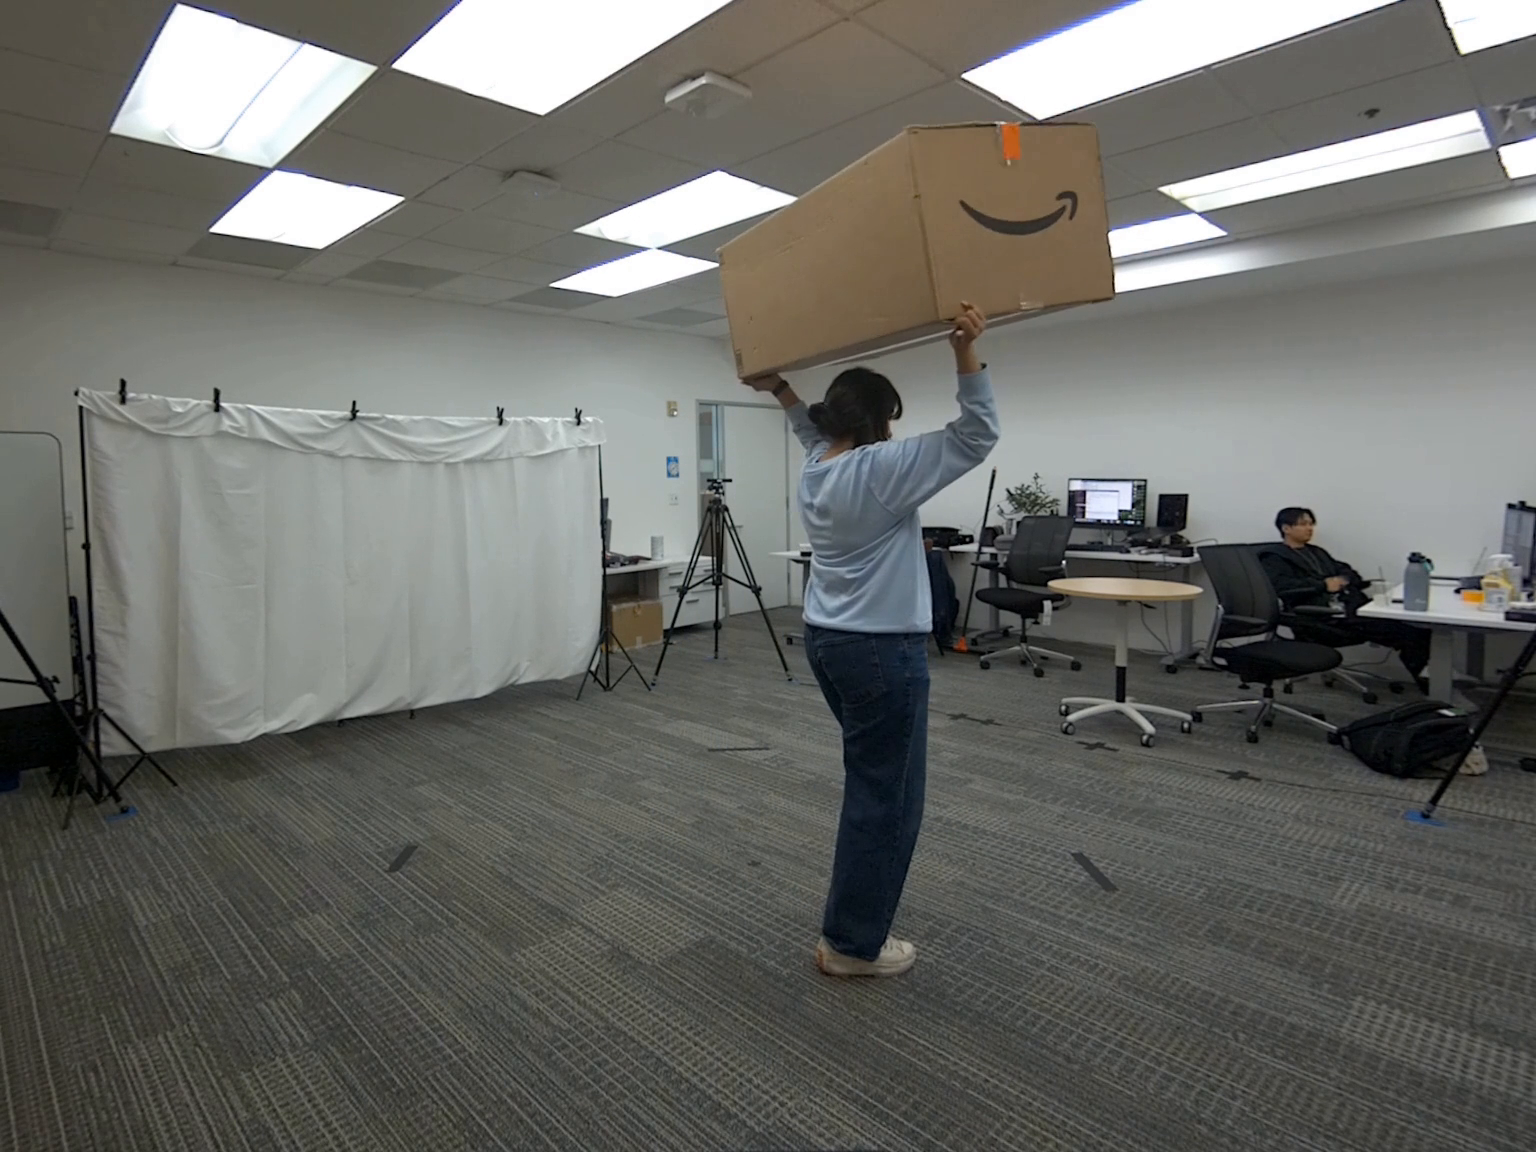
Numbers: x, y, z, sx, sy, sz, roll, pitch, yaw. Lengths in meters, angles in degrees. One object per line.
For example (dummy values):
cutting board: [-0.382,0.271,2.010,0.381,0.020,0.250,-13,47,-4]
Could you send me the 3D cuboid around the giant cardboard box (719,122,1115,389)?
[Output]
giant cardboard box: [0.352,-0.875,2.461,0.568,0.422,1.052,-14,10,-26]
